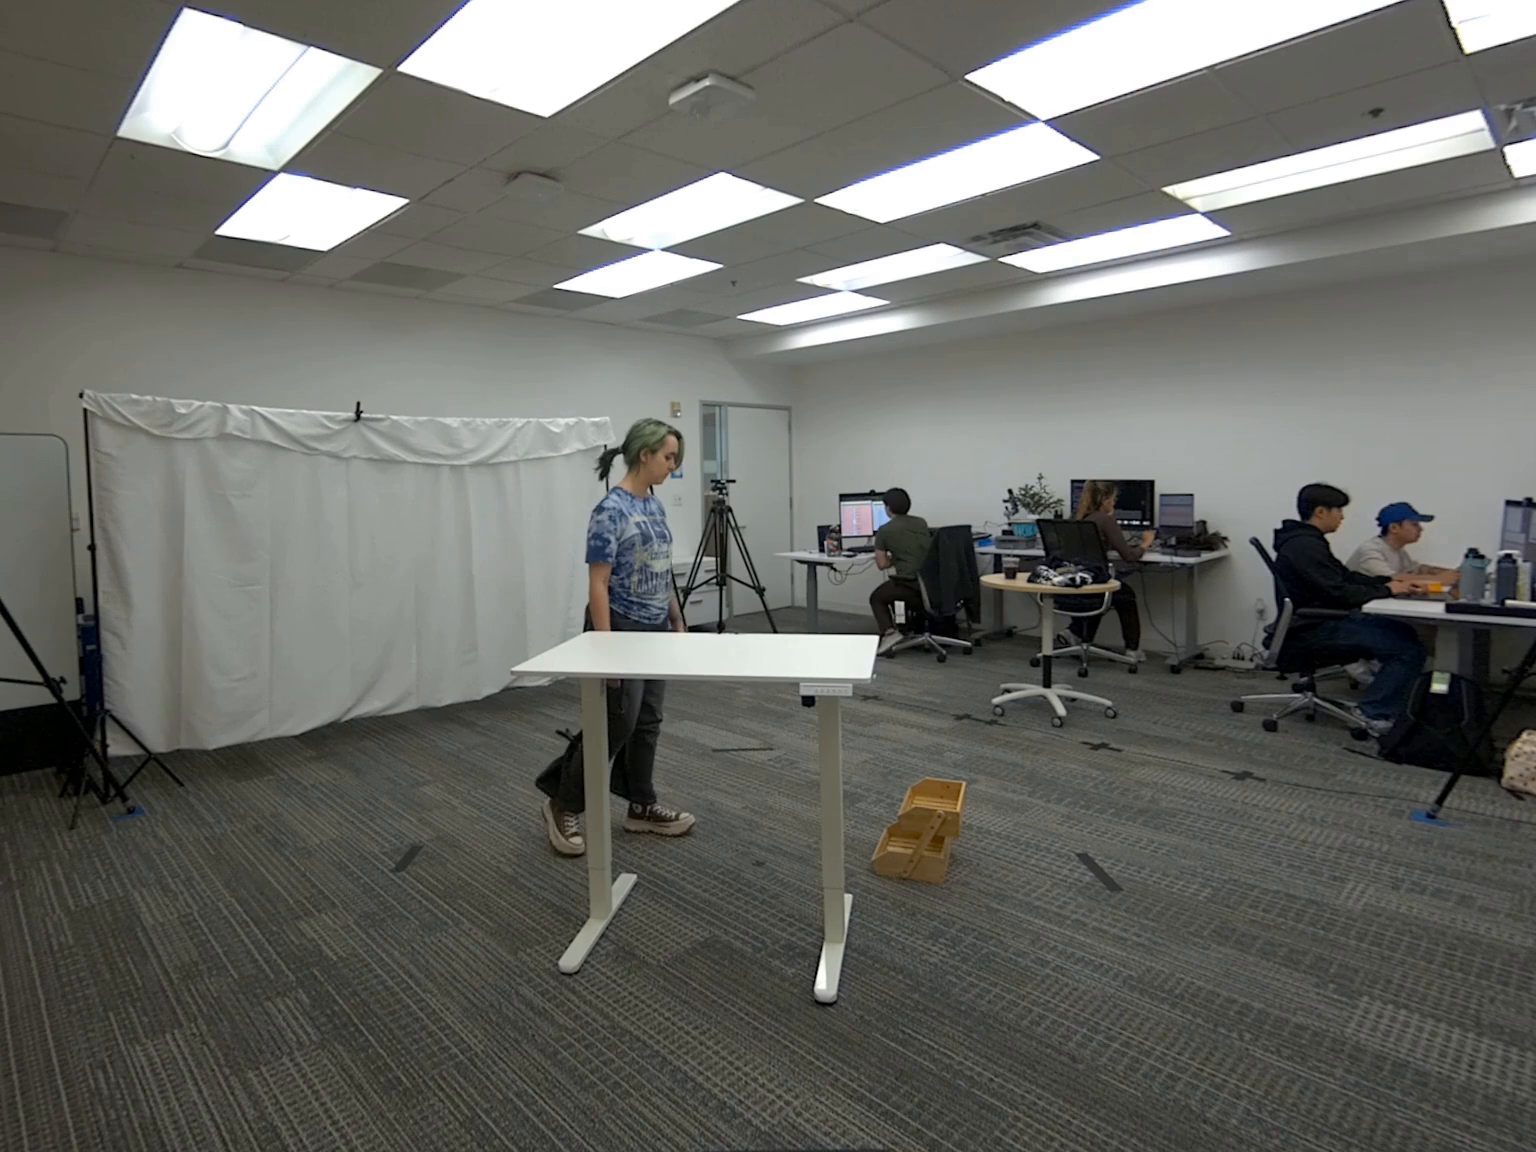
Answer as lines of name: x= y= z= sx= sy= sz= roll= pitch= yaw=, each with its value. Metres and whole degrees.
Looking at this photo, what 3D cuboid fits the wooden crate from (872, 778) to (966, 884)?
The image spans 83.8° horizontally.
wooden crate: x=0.550 y=0.906 z=3.089 sx=0.307 sy=0.272 sz=0.320 roll=1 pitch=5 yaw=18
